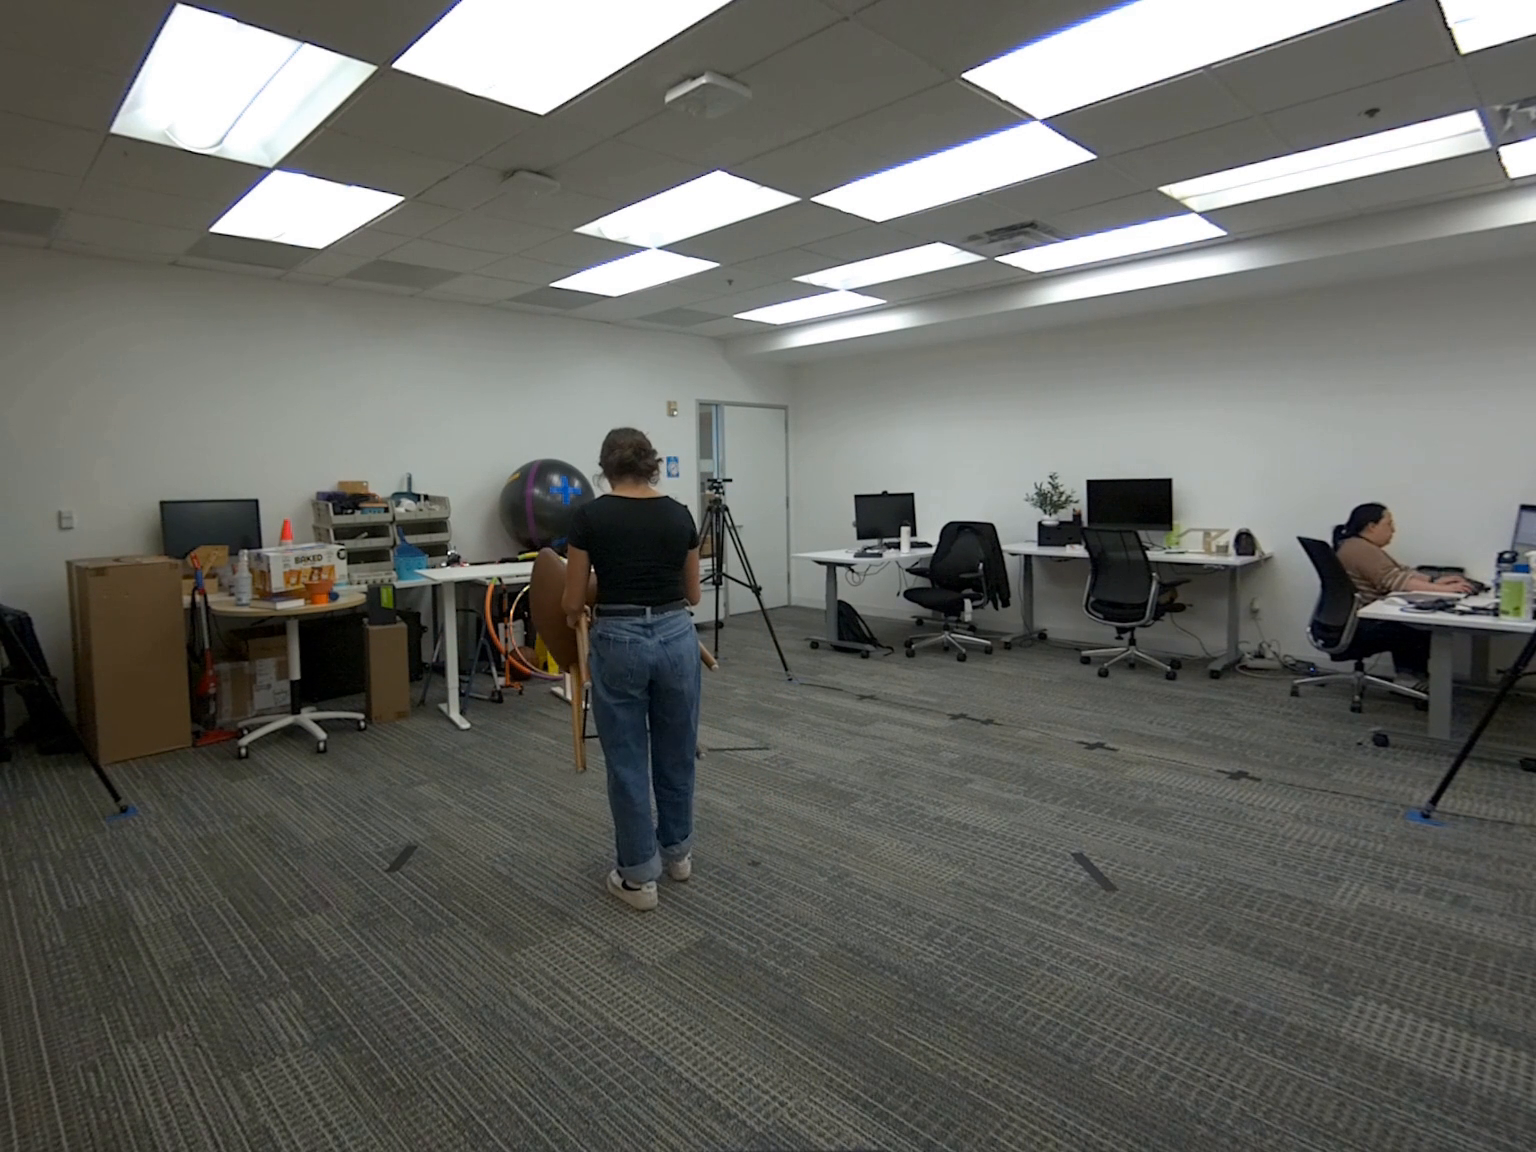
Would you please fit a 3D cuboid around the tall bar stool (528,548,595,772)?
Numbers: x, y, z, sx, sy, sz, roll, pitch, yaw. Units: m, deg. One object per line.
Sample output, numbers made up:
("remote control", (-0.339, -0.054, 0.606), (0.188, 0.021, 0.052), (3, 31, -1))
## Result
("tall bar stool", (-0.559, 0.262, 3.156), (0.458, 0.448, 0.924), (-4, 31, -24))
